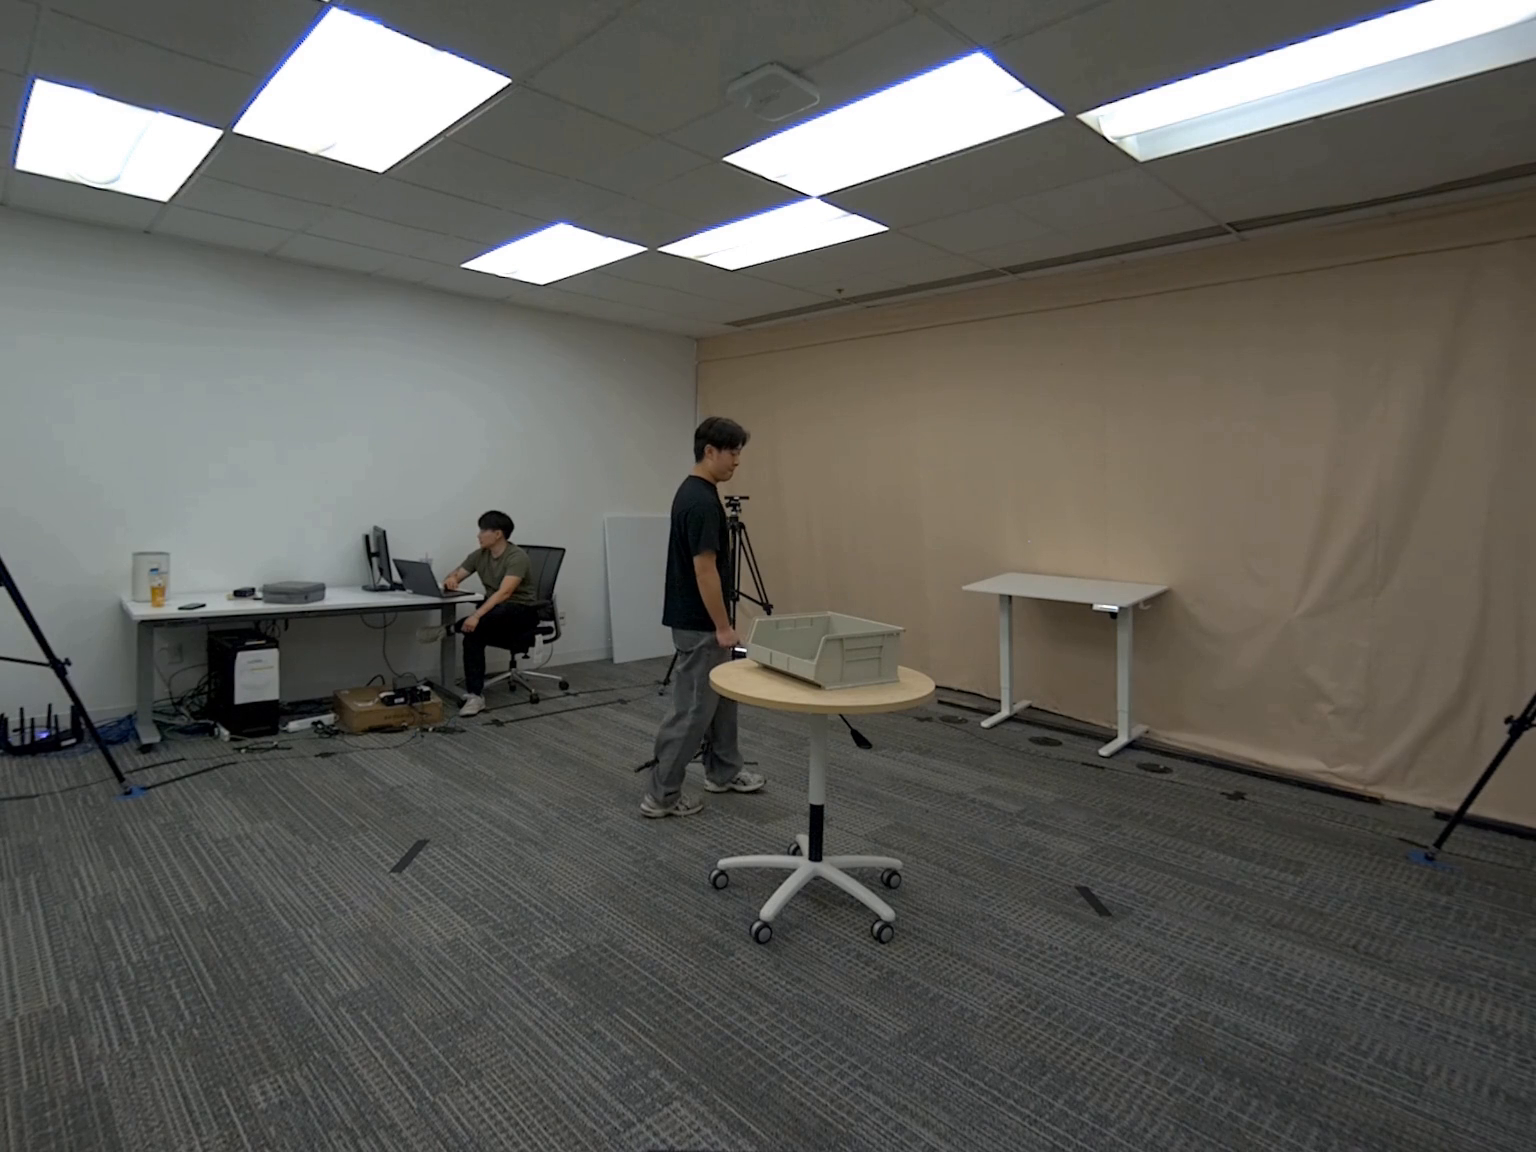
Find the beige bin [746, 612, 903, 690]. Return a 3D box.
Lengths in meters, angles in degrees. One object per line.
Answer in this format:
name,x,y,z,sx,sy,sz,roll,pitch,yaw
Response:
beige bin,0.188,0.256,2.930,0.369,0.188,0.432,0,5,-32
